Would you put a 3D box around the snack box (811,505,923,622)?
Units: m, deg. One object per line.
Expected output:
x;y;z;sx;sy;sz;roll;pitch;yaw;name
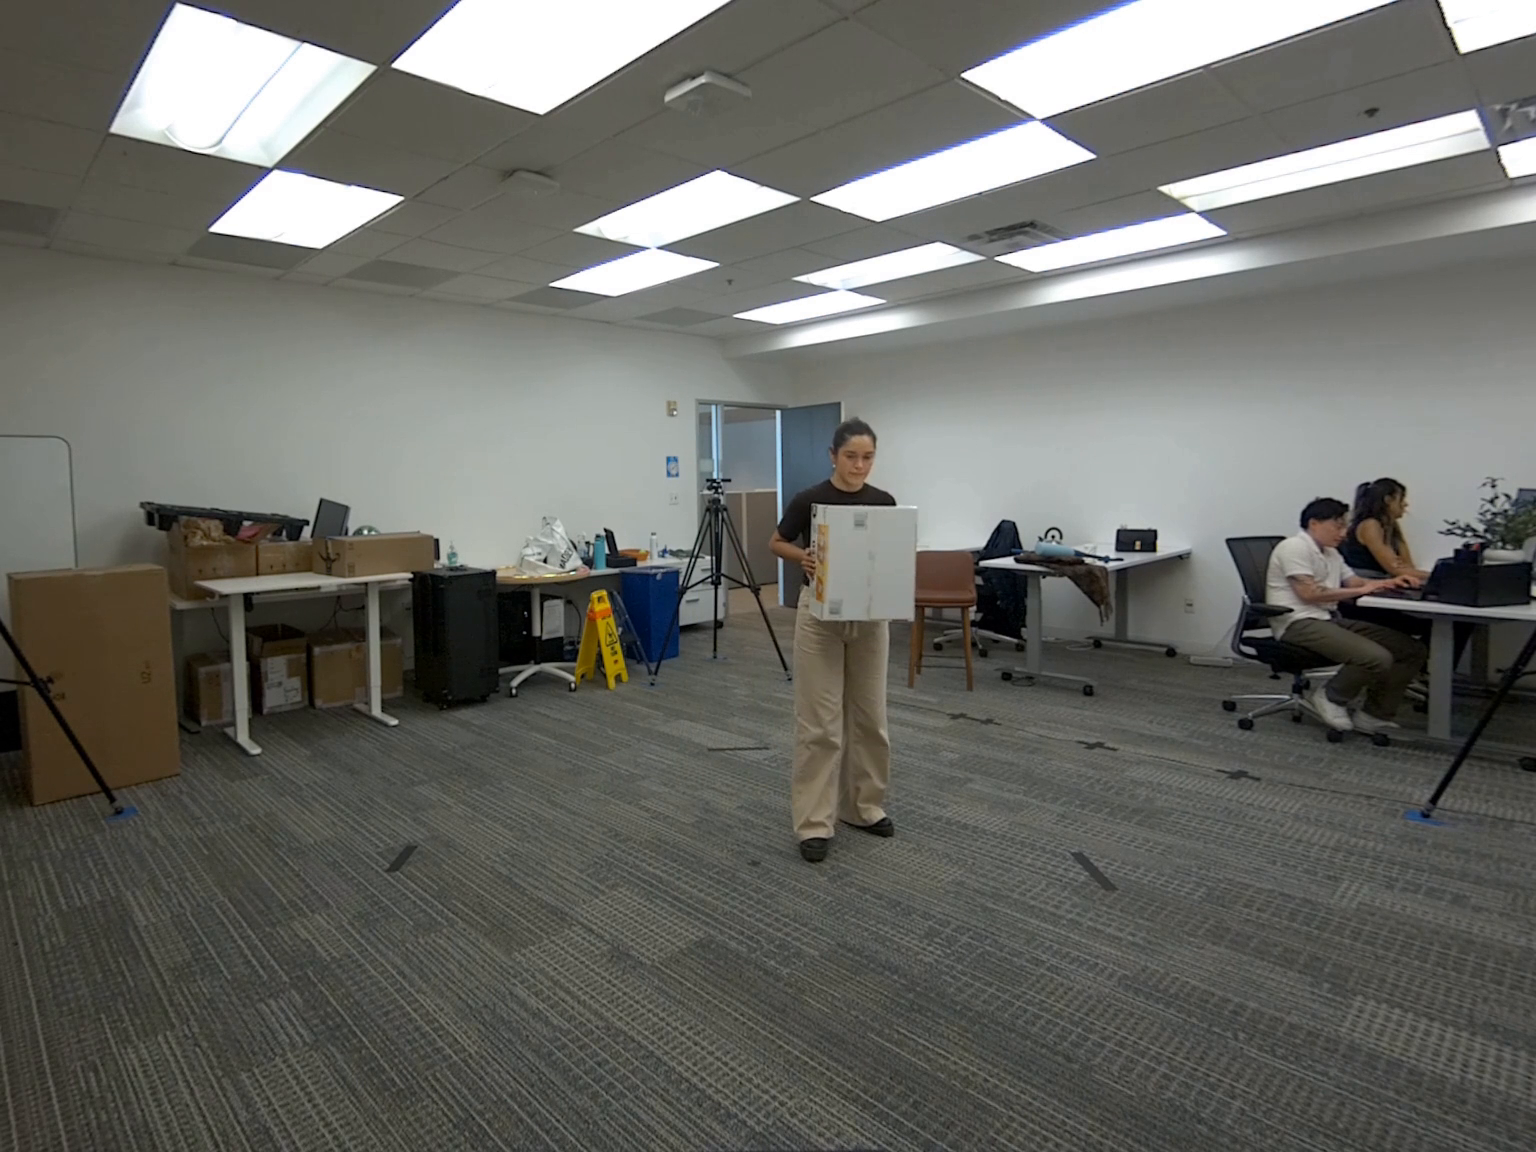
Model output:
0.349;-0.053;3.095;0.338;0.404;0.208;0;4;-8;snack box
